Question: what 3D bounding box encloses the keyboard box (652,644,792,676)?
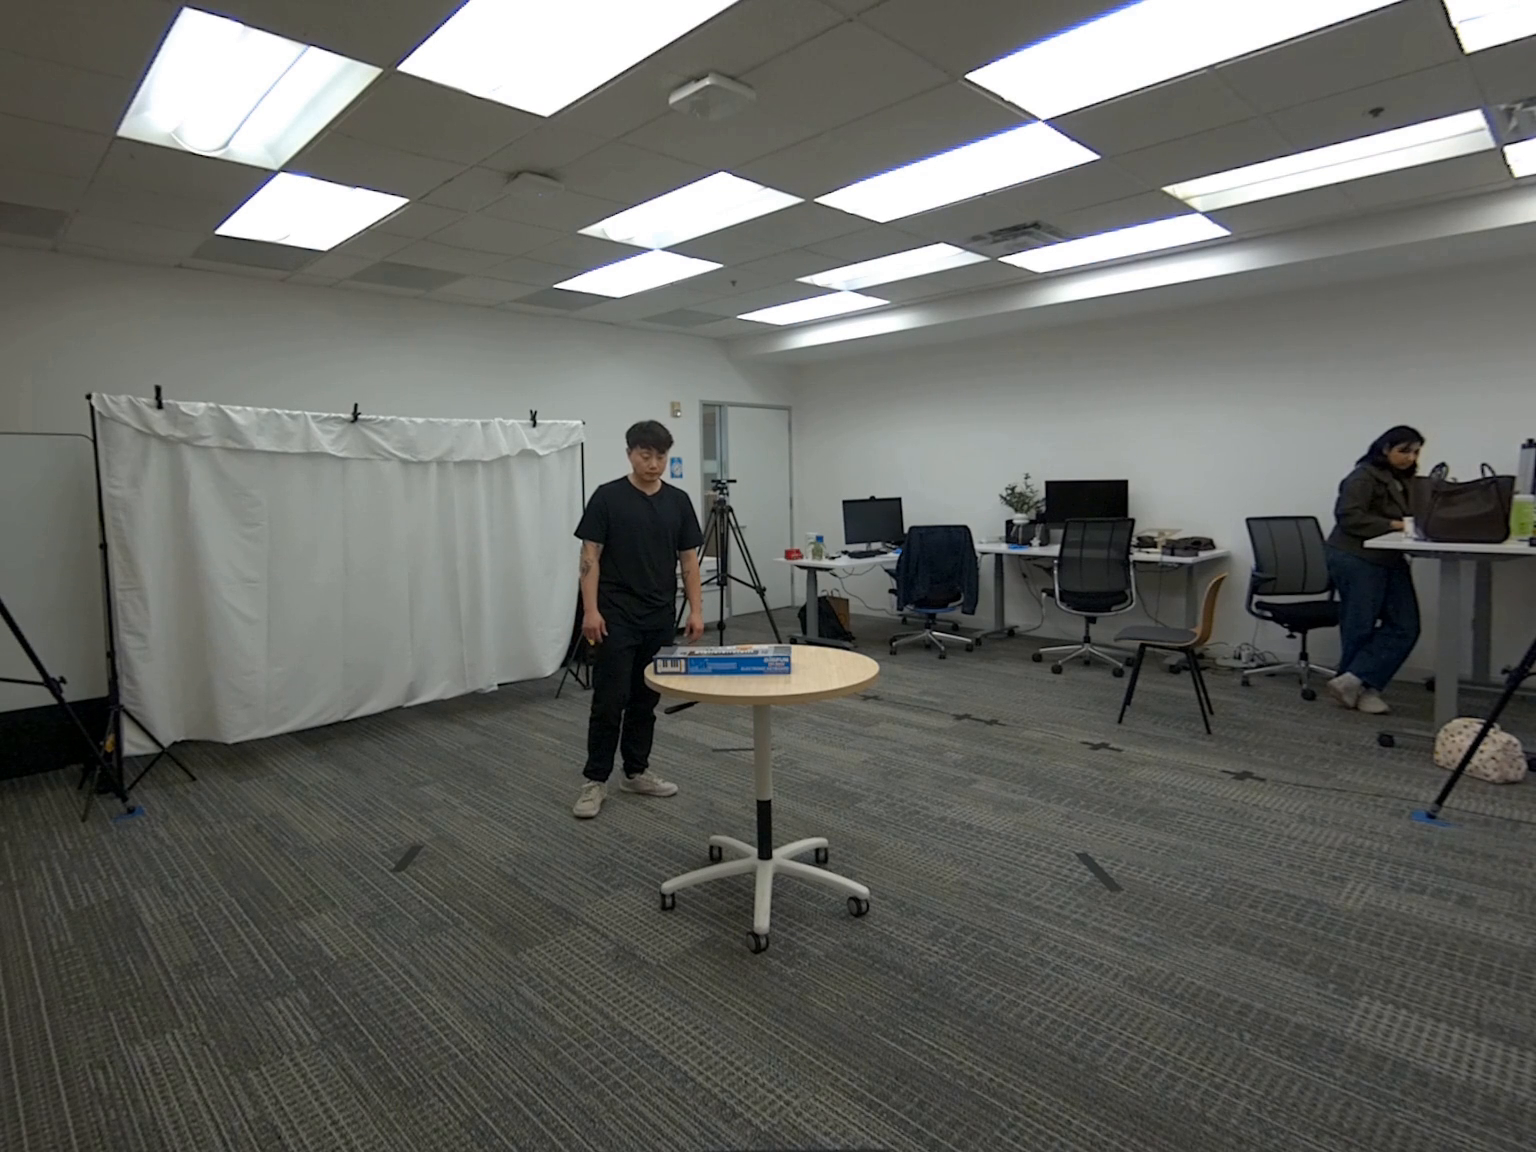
[{"bbox_3d":[-0.139,0.274,2.785,0.438,0.059,0.176,-1,7,3],"label":"keyboard box"}]
